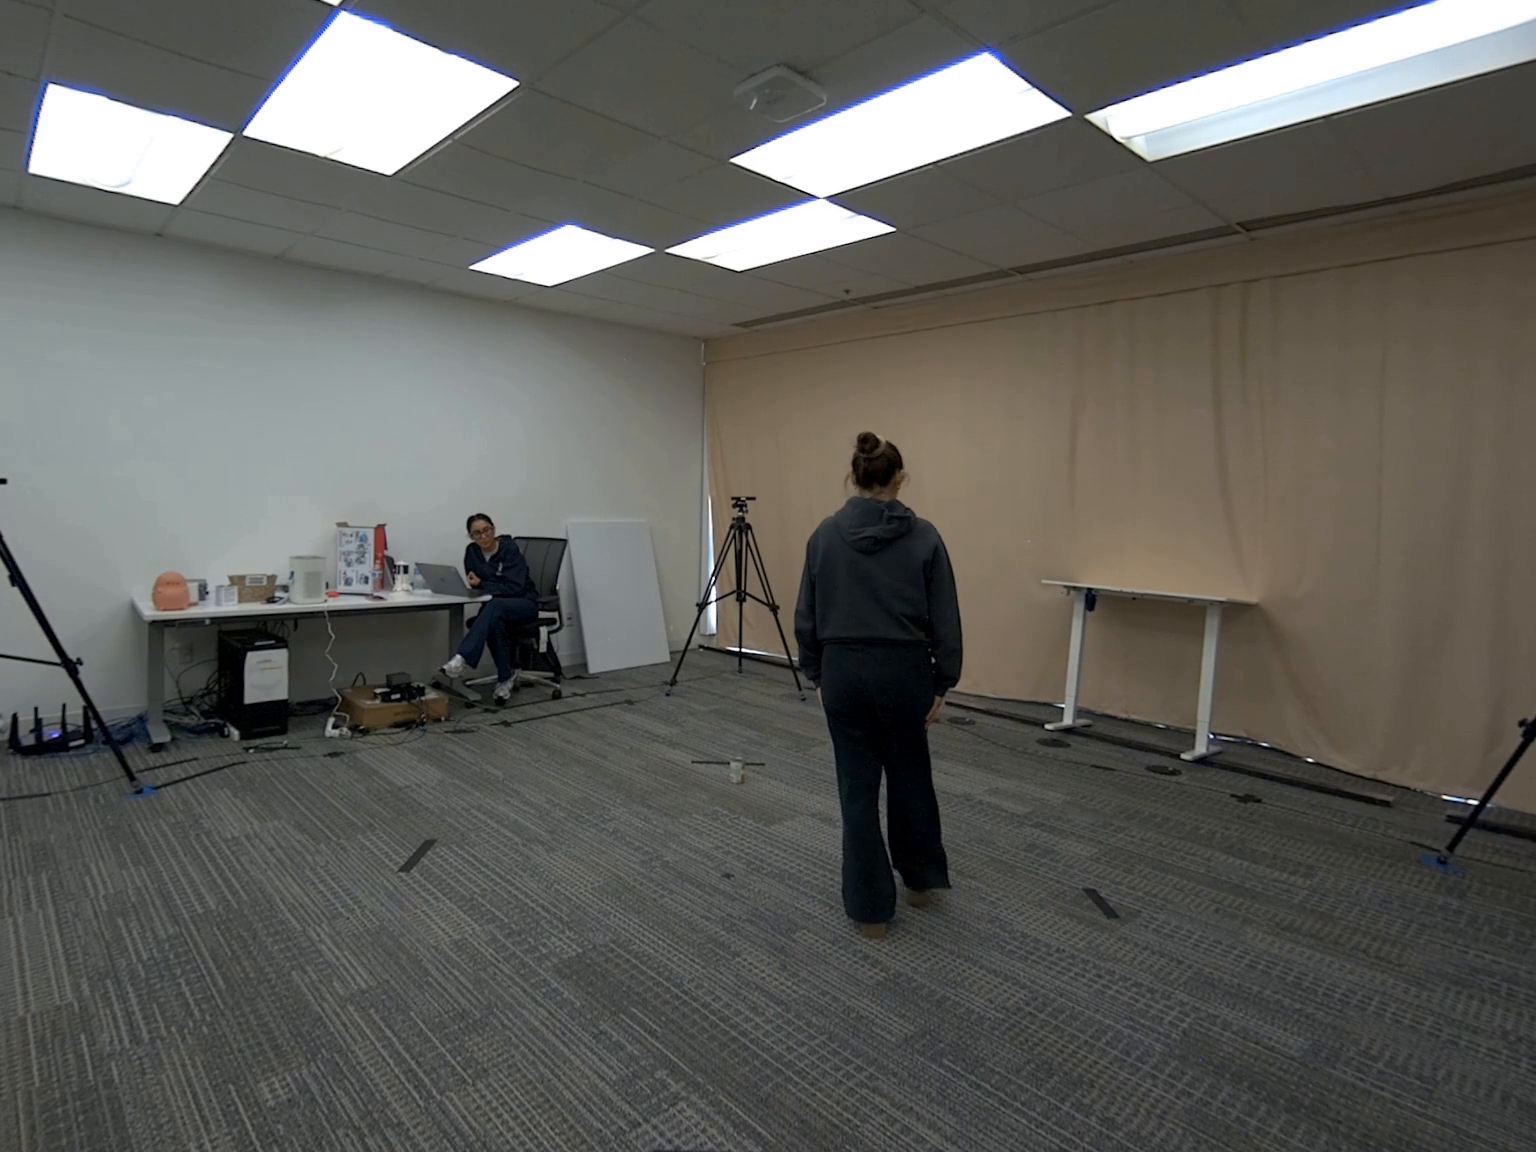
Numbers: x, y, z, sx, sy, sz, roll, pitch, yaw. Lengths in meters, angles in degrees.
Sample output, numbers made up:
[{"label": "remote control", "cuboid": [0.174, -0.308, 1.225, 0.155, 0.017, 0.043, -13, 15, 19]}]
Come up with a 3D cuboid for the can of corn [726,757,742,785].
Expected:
[{"label": "can of corn", "cuboid": [-0.171, 0.960, 4.175, 0.074, 0.111, 0.074, 0, 4, -1]}]
